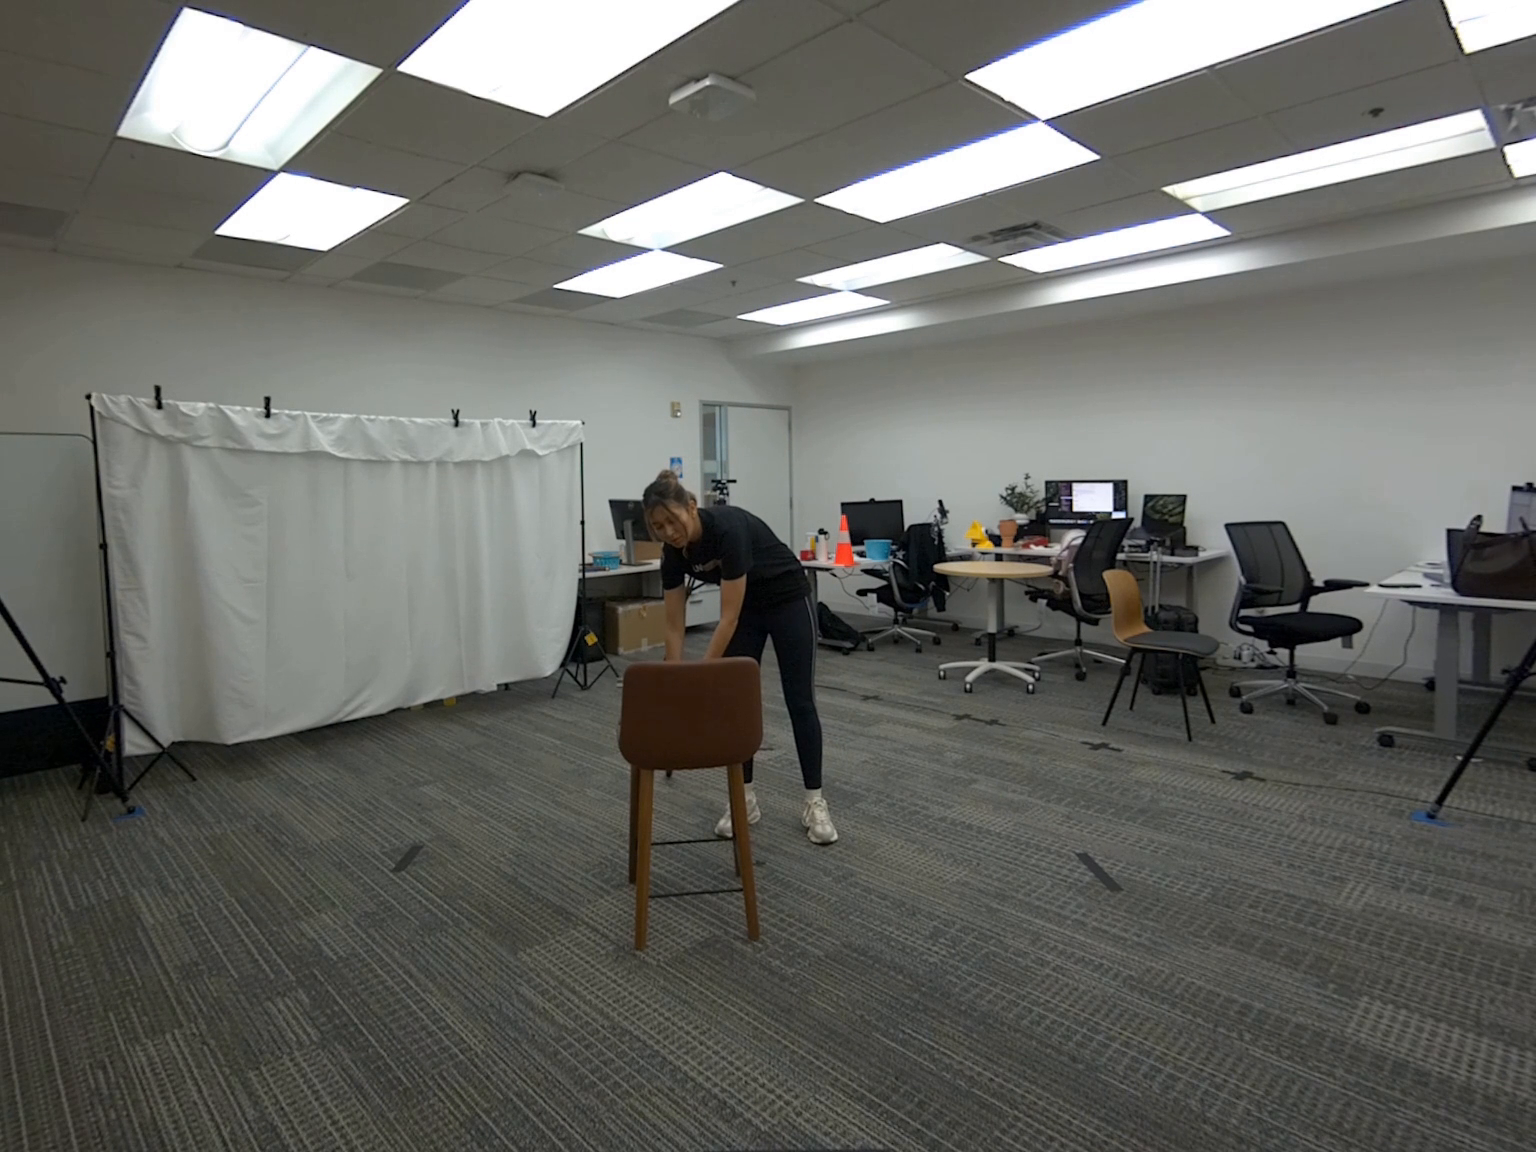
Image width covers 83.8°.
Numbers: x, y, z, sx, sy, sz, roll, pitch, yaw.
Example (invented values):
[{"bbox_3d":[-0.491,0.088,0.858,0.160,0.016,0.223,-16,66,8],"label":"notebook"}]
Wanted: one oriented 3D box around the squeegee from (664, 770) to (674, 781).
[{"bbox_3d":[-0.369,0.641,3.390,0.439,0.053,1.514,22,-26,2],"label":"squeegee"}]
